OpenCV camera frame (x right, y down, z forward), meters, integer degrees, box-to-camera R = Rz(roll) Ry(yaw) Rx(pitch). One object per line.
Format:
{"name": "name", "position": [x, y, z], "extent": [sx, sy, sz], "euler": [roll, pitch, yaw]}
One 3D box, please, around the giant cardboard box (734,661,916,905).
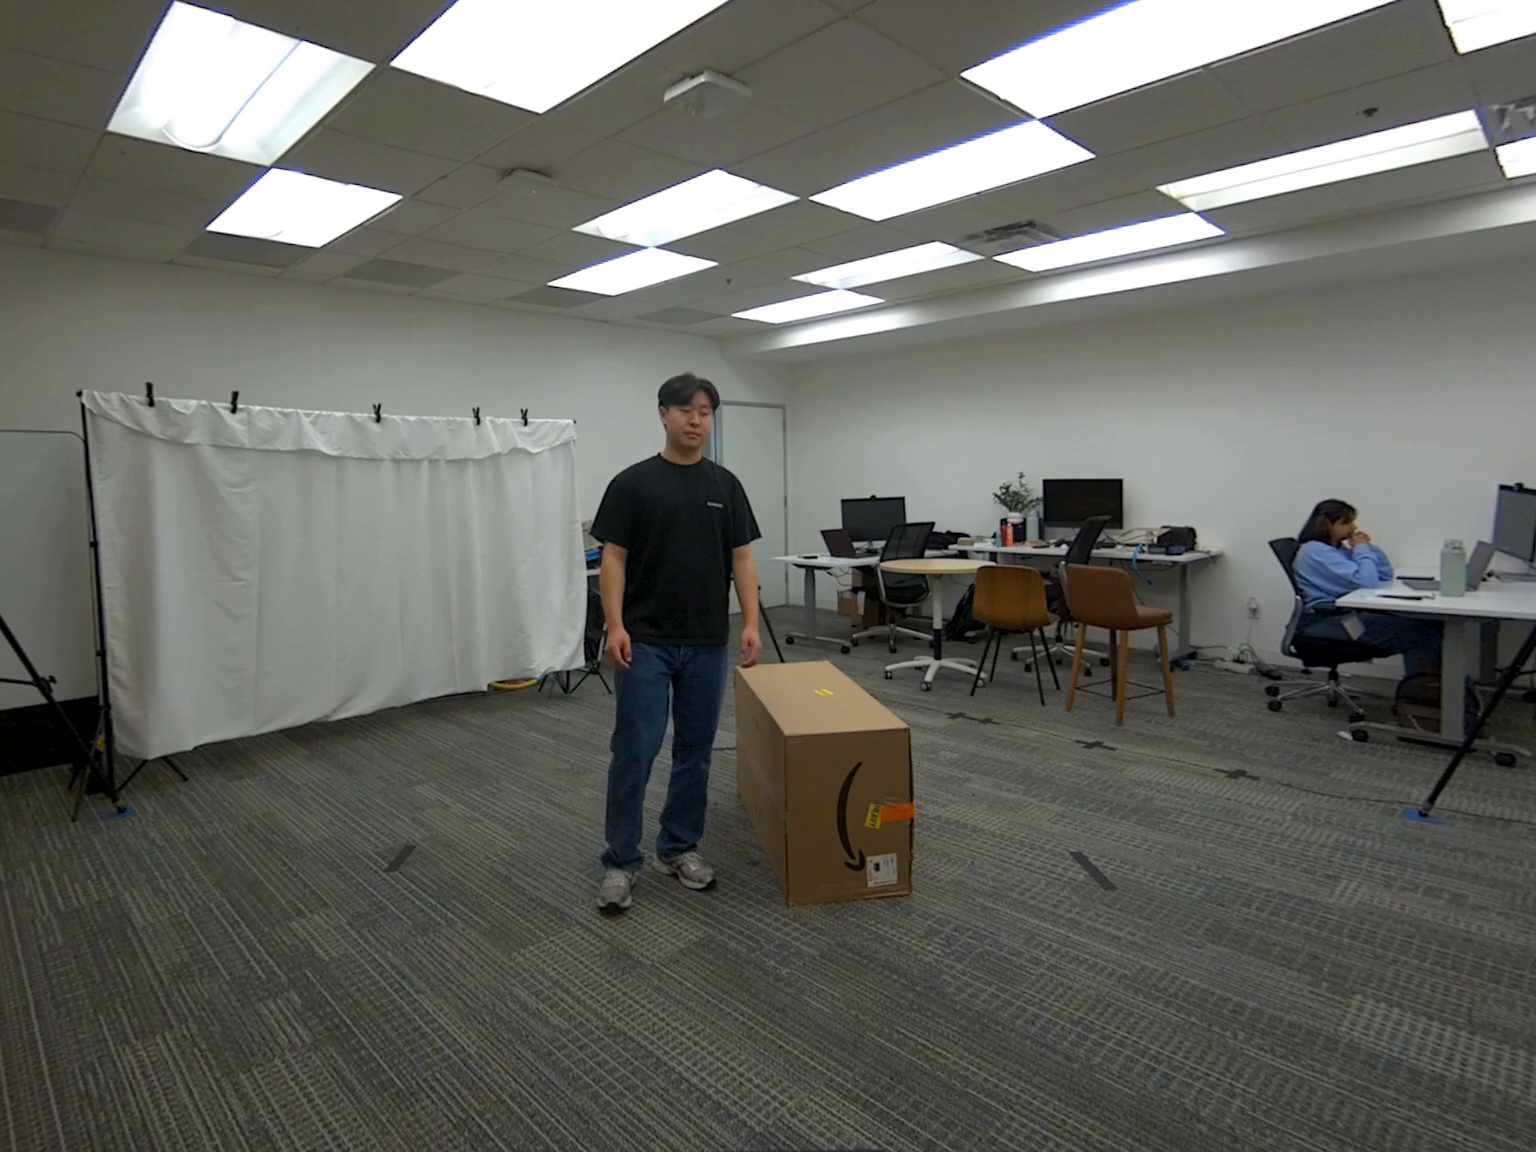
{"name": "giant cardboard box", "position": [0.173, 0.729, 3.300], "extent": [0.442, 0.581, 1.042], "euler": [-1, 6, -11]}
